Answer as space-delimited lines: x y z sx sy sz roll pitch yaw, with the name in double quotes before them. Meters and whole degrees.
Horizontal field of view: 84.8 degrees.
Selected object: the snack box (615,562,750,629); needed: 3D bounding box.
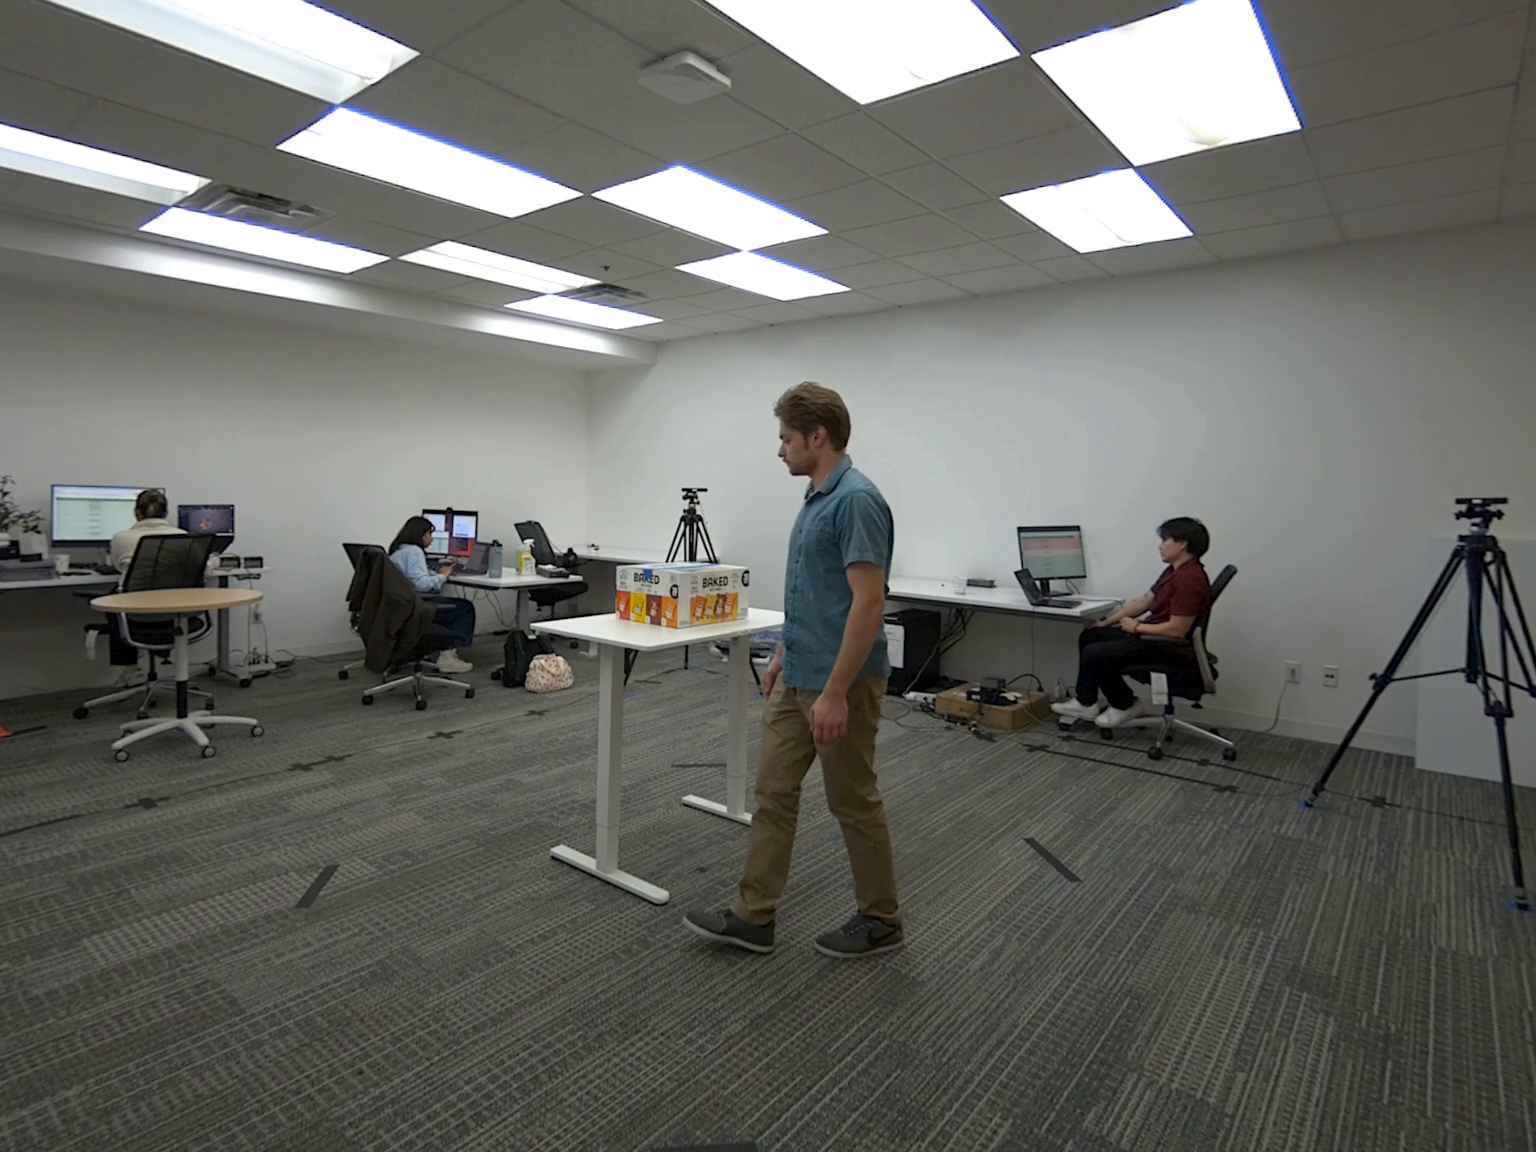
"snack box" -0.341 0.062 3.323 0.352 0.205 0.393 6 6 39
